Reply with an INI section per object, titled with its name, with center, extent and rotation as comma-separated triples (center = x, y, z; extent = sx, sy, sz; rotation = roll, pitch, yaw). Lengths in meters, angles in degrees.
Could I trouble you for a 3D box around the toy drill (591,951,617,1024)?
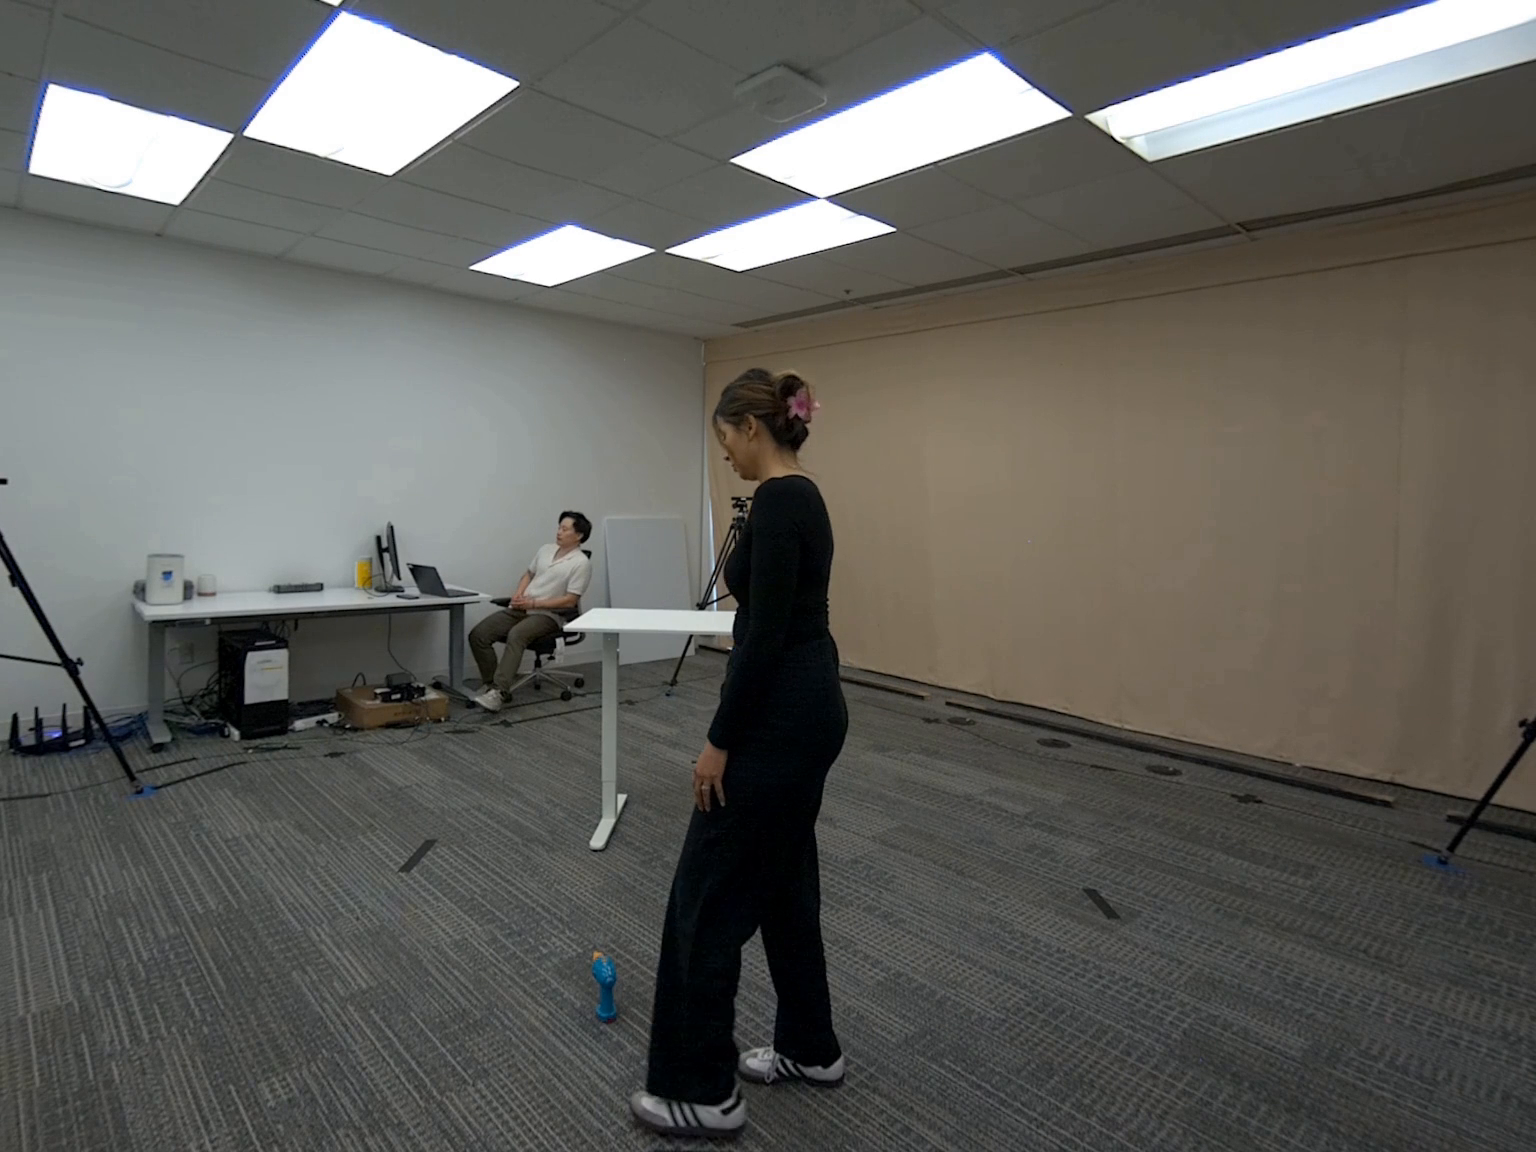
[toy drill]
center = -0.453, 1.104, 2.276
extent = 0.060, 0.145, 0.173
rotation = -1, 5, -25
